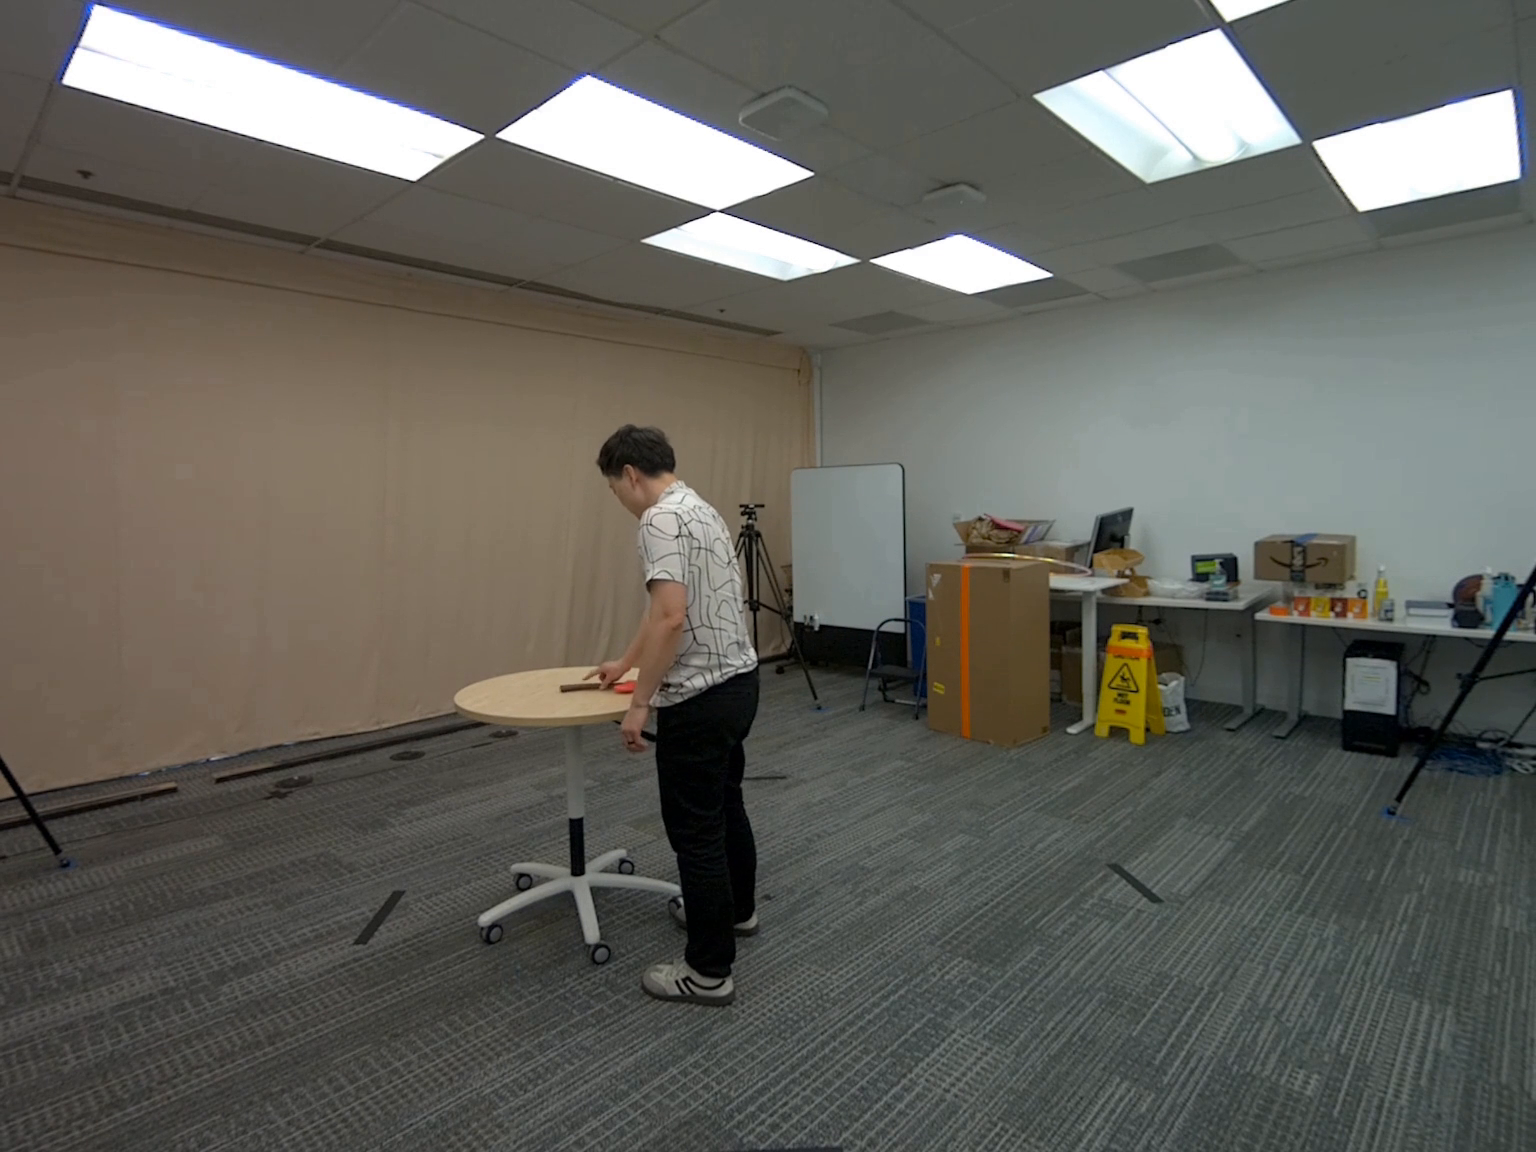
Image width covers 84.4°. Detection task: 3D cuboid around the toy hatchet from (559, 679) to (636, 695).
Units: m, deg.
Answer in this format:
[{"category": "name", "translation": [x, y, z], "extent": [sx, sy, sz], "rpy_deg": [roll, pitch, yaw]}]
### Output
[{"category": "toy hatchet", "translation": [-0.561, 0.375, 2.790], "extent": [0.266, 0.029, 0.133], "rpy_deg": [-3, 4, -14]}]
